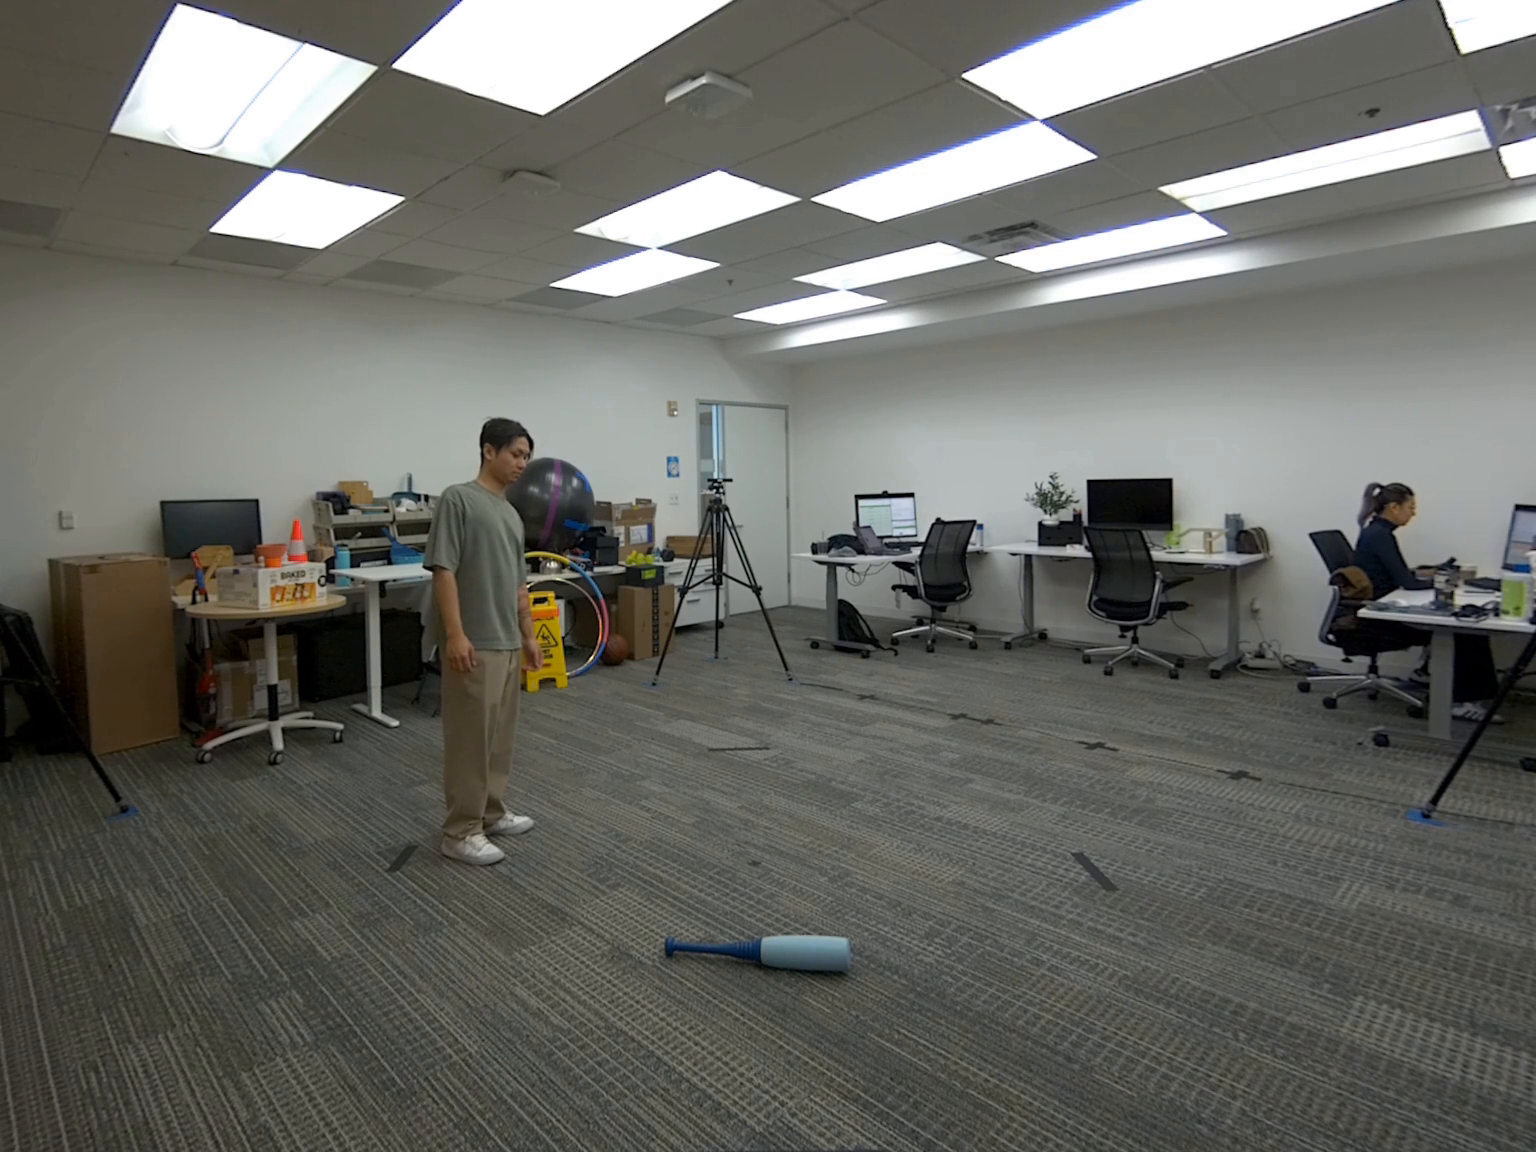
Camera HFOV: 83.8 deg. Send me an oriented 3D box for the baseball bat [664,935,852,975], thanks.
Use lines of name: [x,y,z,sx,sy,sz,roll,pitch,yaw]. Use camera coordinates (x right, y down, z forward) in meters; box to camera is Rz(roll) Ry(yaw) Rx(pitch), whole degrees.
baseball bat: [-0.028,1.081,2.463,0.549,0.089,0.088,-3,4,11]
